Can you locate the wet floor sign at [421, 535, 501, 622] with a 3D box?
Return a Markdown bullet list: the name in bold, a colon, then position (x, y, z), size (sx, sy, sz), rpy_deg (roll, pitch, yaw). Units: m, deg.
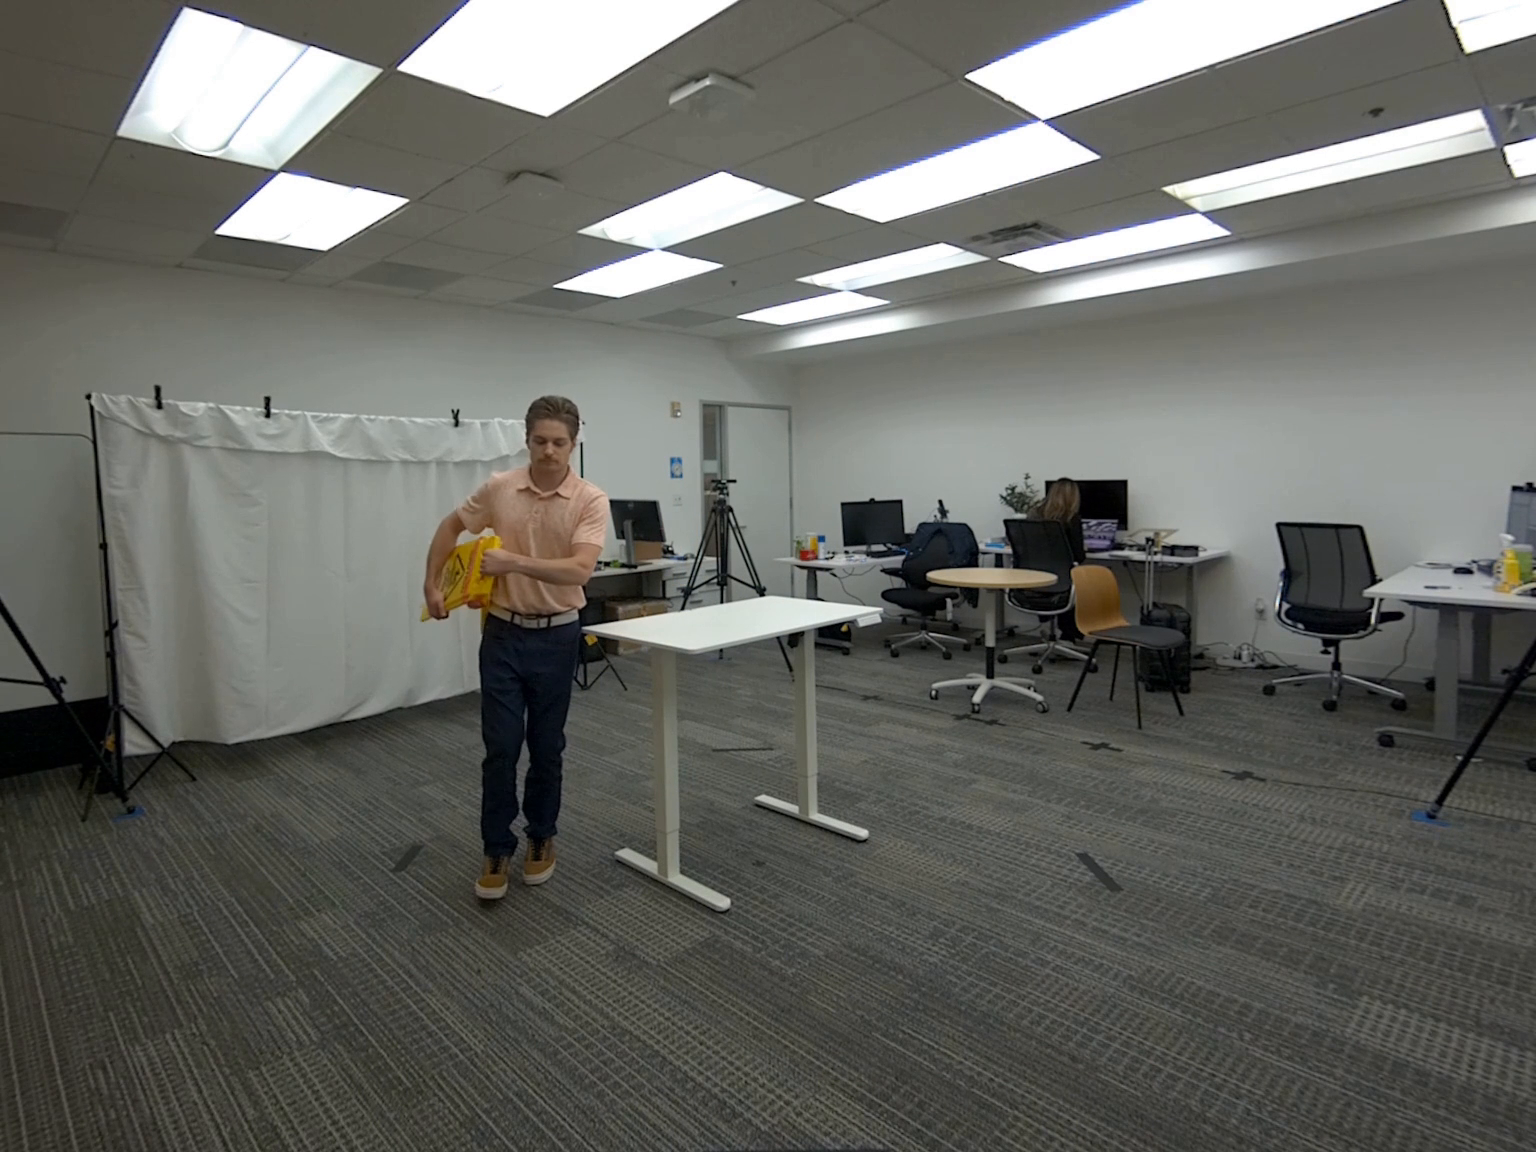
- **wet floor sign**: position (-1.041, 0.023, 3.023), size (0.283, 0.286, 0.652), rpy_deg (13, -16, -21)
